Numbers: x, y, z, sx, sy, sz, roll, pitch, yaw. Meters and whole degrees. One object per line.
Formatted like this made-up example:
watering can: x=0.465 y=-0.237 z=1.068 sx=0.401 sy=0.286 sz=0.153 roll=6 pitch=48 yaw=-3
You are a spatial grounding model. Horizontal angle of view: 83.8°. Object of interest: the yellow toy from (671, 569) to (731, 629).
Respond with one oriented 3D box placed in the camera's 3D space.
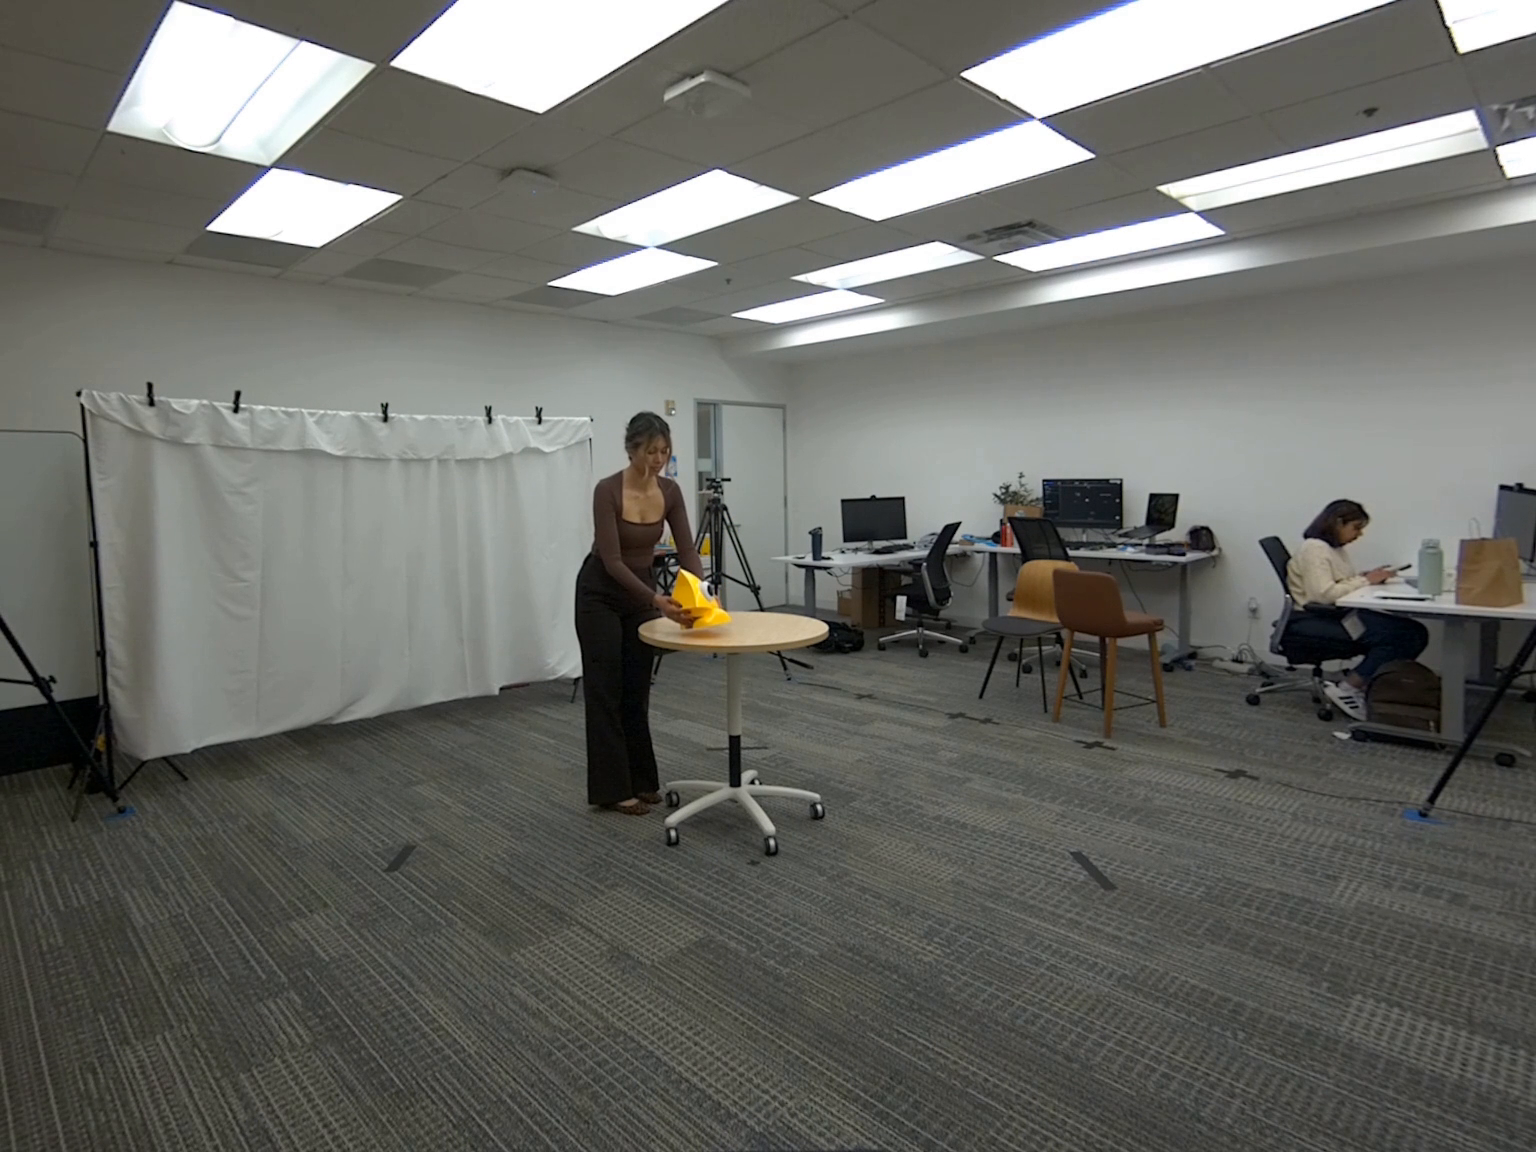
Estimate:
yellow toy: x=-0.272 y=0.080 z=3.282 sx=0.188 sy=0.231 sz=0.209 roll=-8 pitch=-4 yaw=-40
